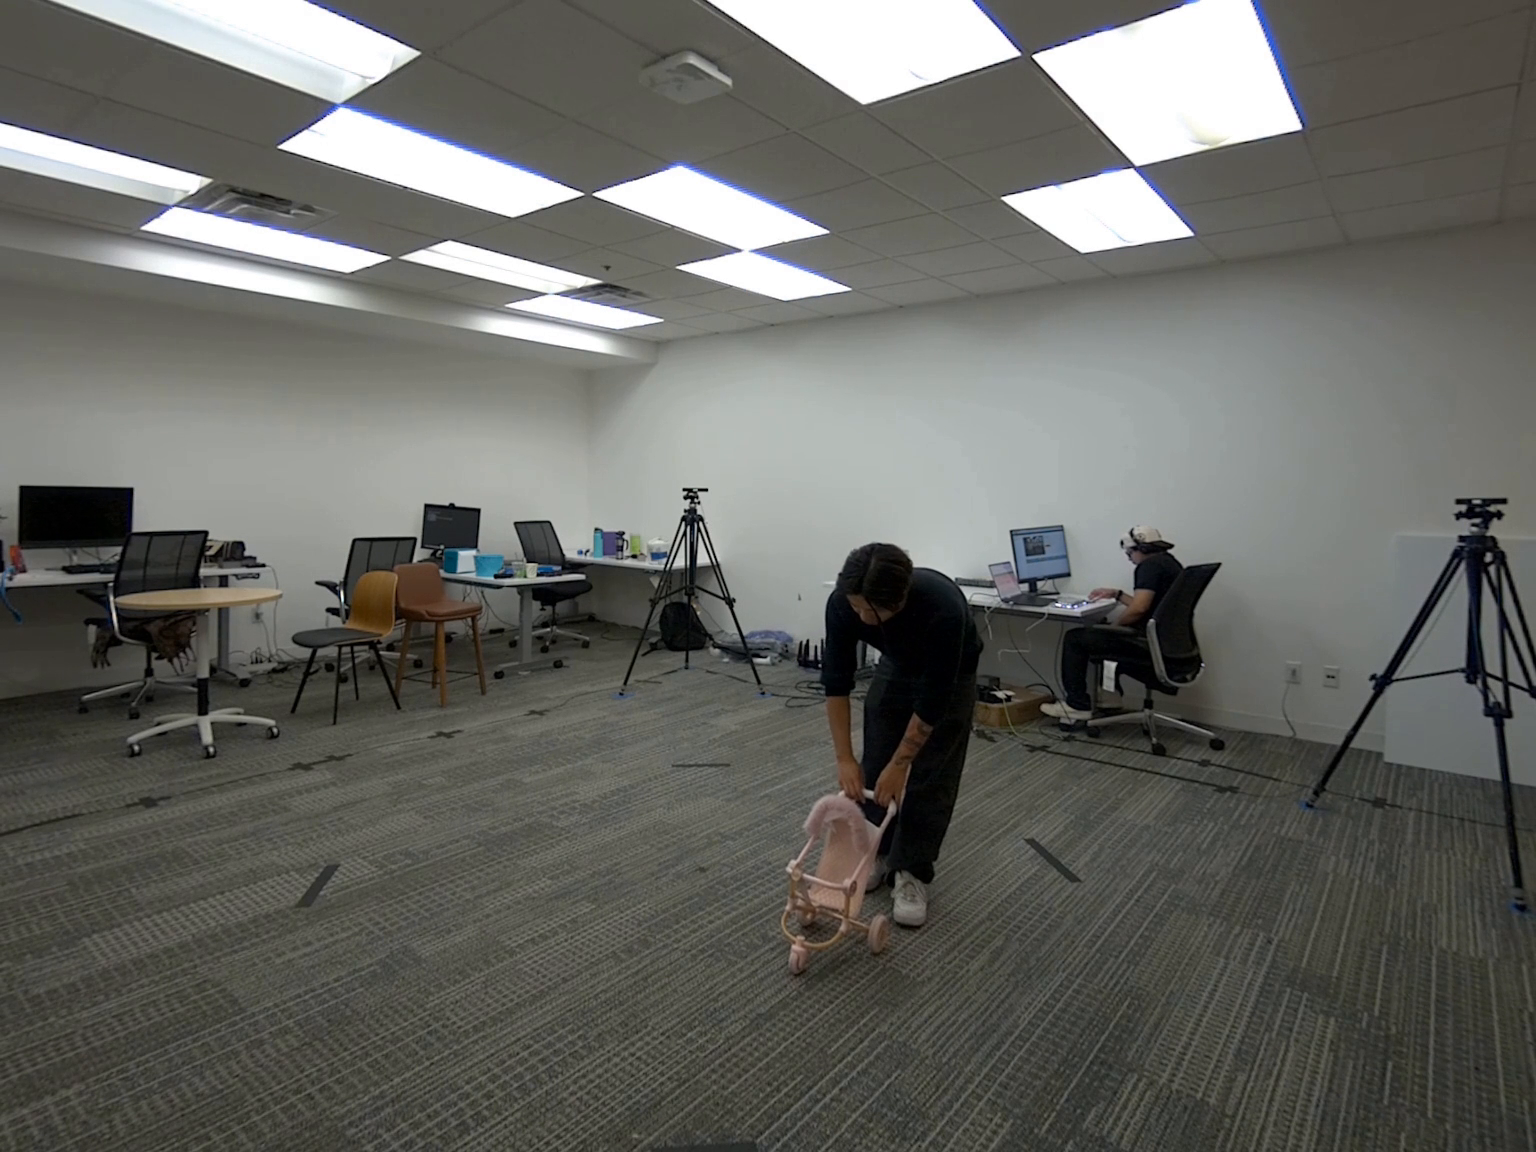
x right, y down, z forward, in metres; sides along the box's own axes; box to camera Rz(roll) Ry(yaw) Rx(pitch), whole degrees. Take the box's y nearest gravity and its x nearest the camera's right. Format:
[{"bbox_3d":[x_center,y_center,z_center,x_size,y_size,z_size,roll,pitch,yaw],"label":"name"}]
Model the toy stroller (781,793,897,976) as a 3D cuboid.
[{"bbox_3d":[0.191,0.907,2.593,0.291,0.539,0.328,4,-13,39],"label":"toy stroller"}]
